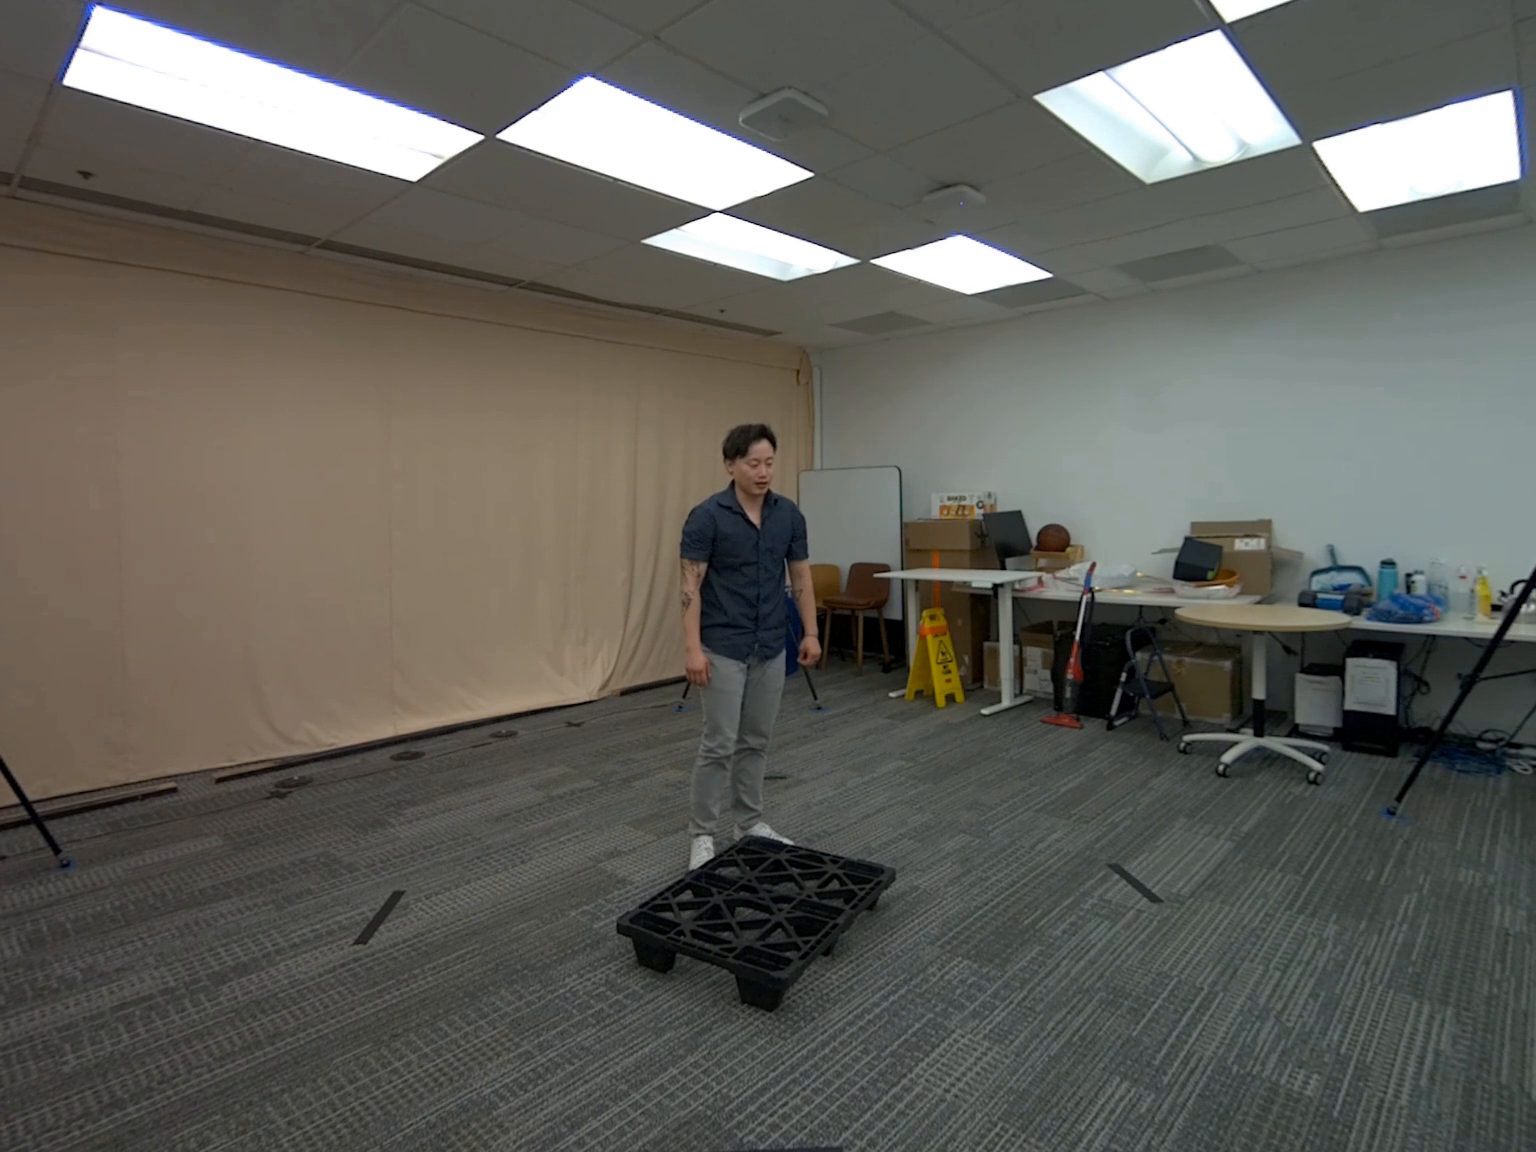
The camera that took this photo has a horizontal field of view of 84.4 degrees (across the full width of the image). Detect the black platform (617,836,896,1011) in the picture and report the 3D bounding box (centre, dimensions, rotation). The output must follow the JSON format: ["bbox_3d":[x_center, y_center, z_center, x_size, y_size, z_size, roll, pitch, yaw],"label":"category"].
[{"bbox_3d":[-0.004,1.092,2.733,0.623,0.143,0.784,3,7,32],"label":"black platform"}]
